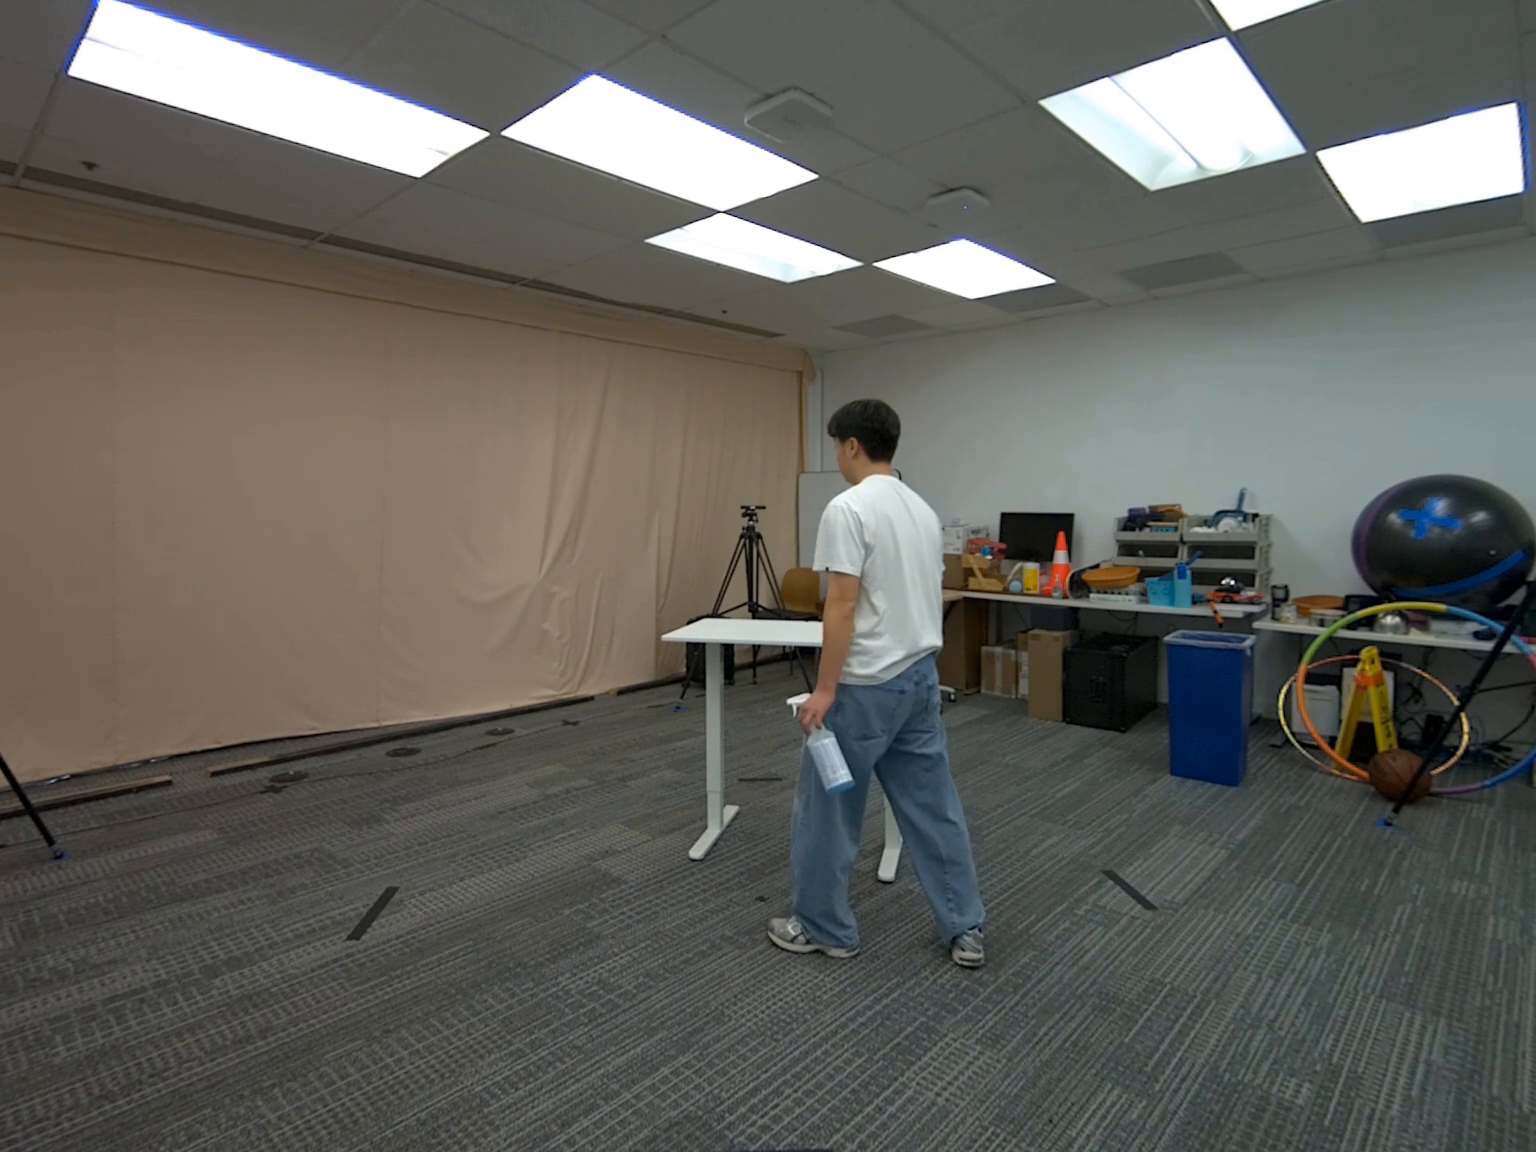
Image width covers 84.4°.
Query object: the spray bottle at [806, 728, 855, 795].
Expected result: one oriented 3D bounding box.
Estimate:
[{"bbox_3d":[0.154,0.480,2.471,0.091,0.303,0.084,-24,-23,11],"label":"spray bottle"}]
